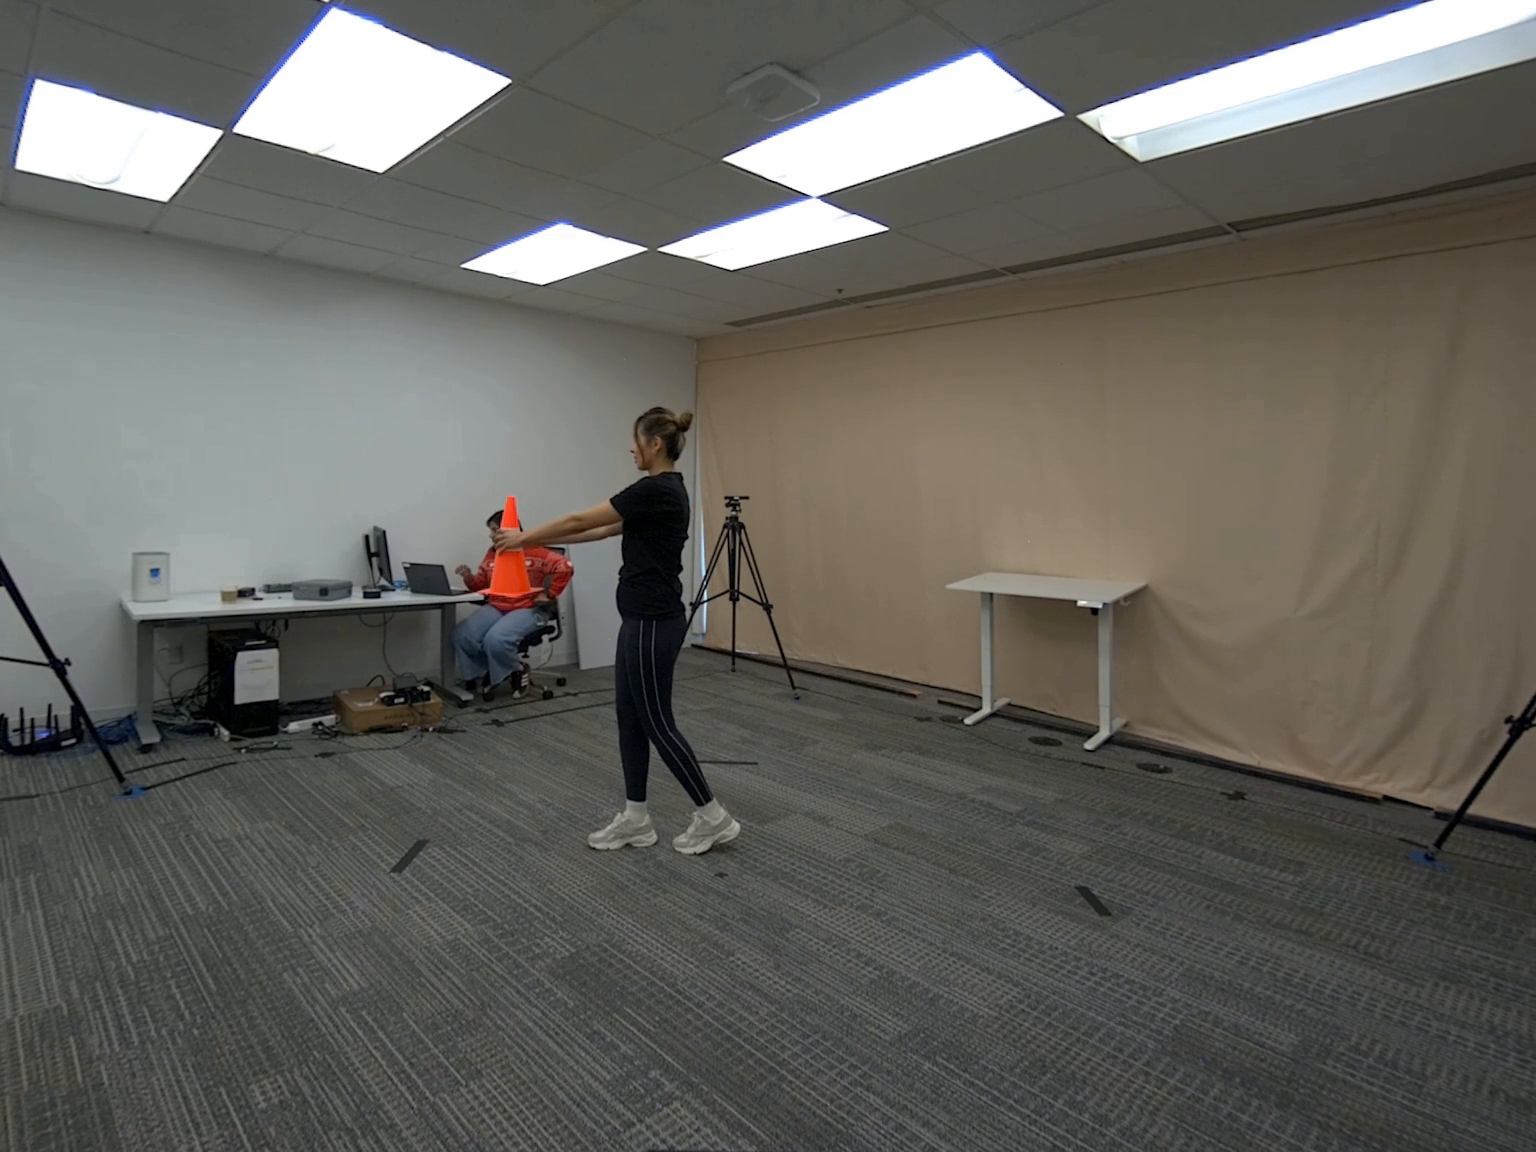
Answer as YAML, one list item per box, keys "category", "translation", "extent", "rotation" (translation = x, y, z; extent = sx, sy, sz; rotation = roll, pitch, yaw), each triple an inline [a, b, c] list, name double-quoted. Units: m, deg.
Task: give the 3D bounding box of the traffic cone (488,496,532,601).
- category: "traffic cone"
  translation: [-1.025, -0.126, 3.352]
  extent: [0.209, 0.382, 0.200]
  rotation: [11, 7, 41]
